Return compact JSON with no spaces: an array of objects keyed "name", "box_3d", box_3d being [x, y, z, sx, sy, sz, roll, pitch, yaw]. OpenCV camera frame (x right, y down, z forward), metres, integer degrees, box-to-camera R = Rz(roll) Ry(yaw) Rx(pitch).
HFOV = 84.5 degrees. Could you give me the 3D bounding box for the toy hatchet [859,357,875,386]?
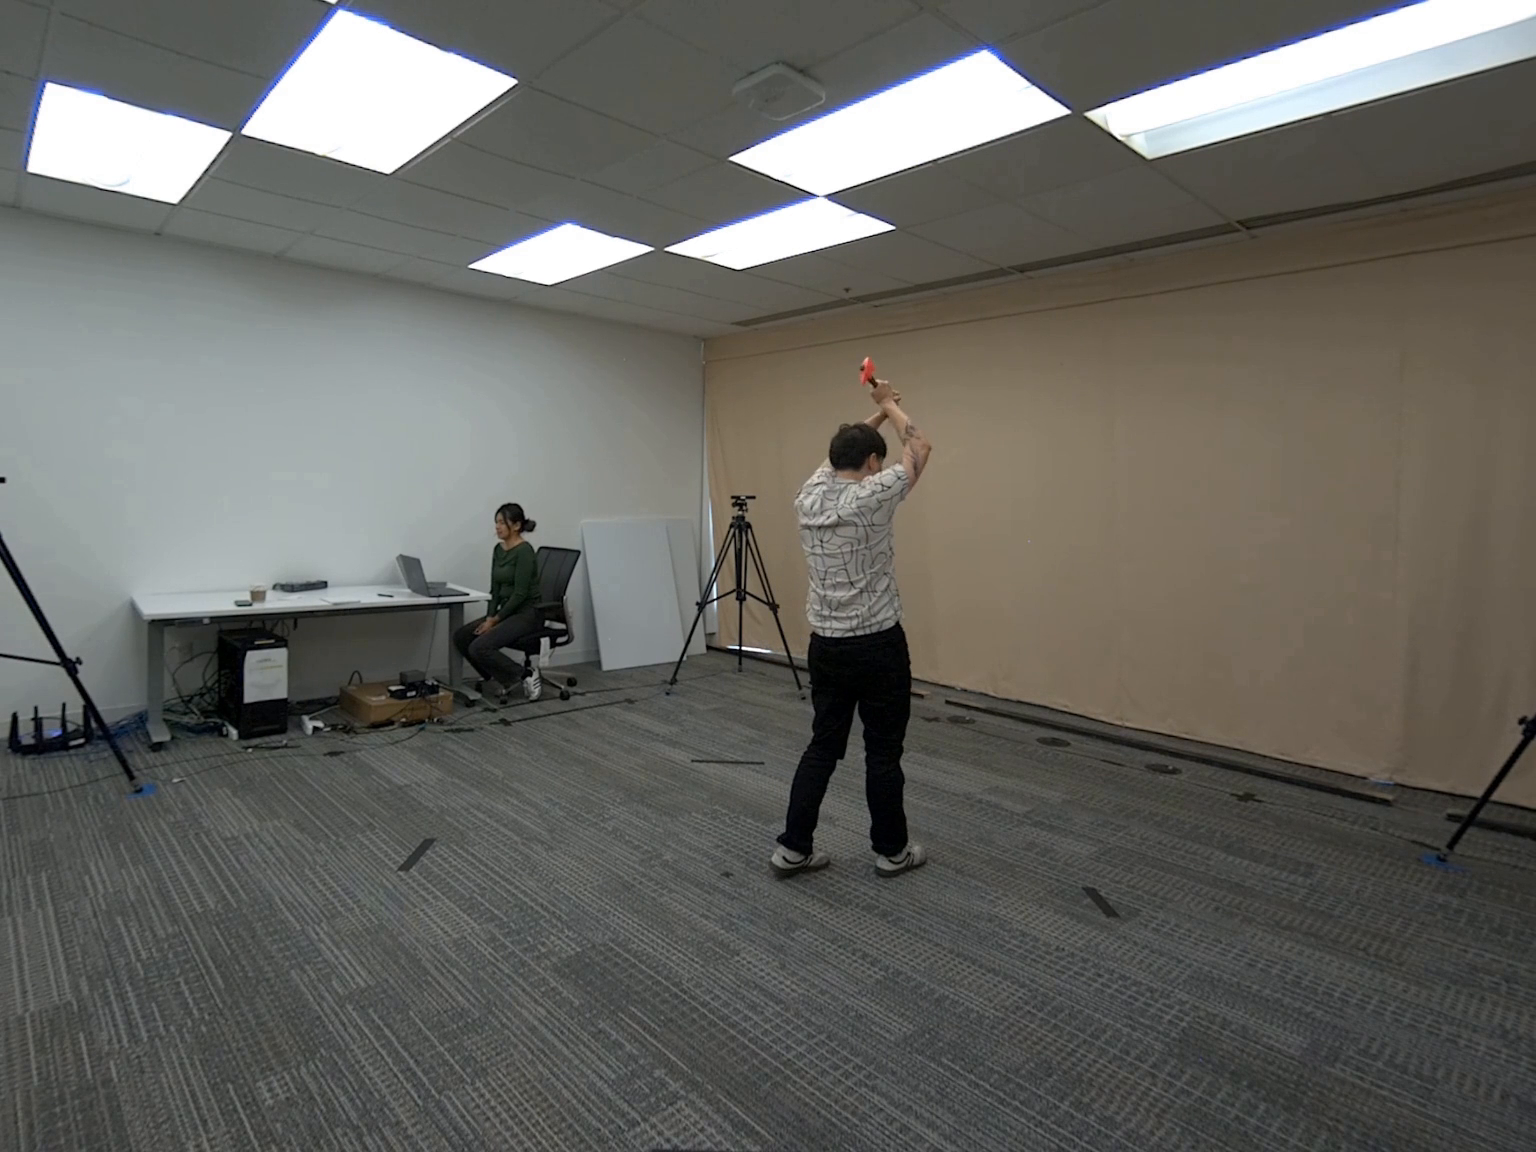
[{"name":"toy hatchet","box_3d":[0.422,-0.748,3.226,0.030,0.132,0.262,-11,-16,36]}]
